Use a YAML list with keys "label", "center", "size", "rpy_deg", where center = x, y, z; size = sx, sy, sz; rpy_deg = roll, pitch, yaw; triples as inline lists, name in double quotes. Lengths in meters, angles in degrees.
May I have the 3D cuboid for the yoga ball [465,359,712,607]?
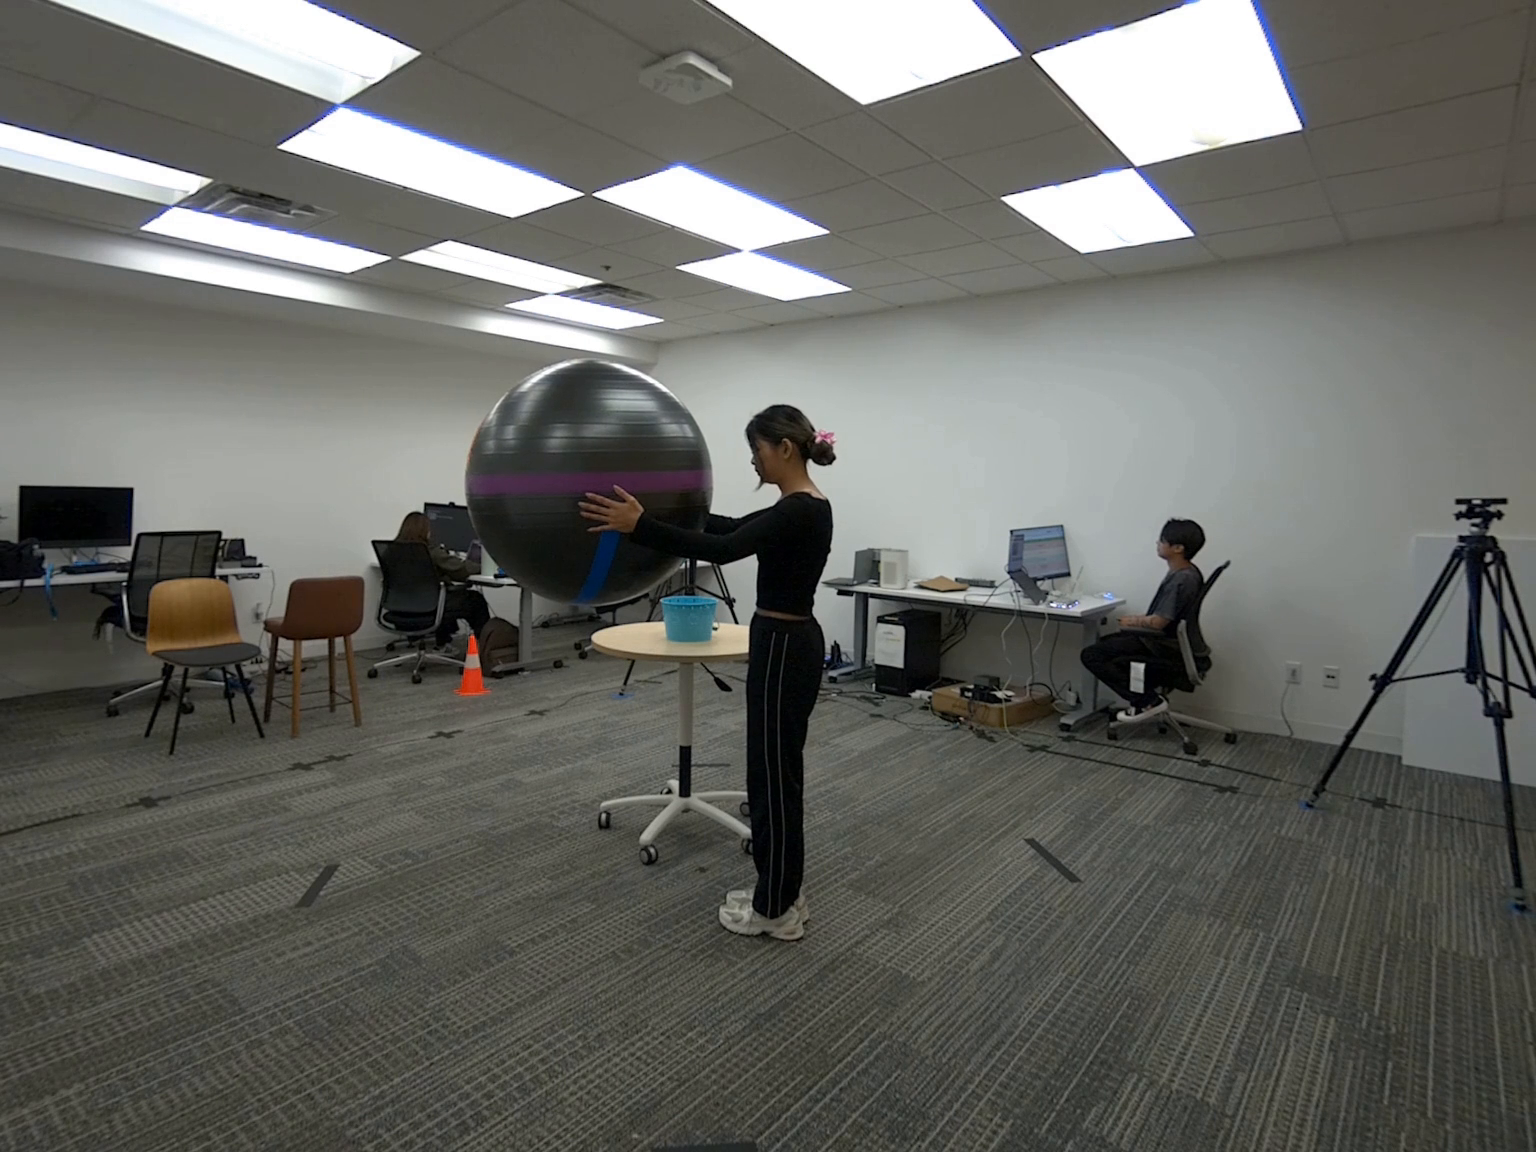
- label: "yoga ball"
  center: [-0.581, -0.286, 2.655]
  size: [0.757, 0.756, 0.762]
  rpy_deg: [1, 4, -2]
